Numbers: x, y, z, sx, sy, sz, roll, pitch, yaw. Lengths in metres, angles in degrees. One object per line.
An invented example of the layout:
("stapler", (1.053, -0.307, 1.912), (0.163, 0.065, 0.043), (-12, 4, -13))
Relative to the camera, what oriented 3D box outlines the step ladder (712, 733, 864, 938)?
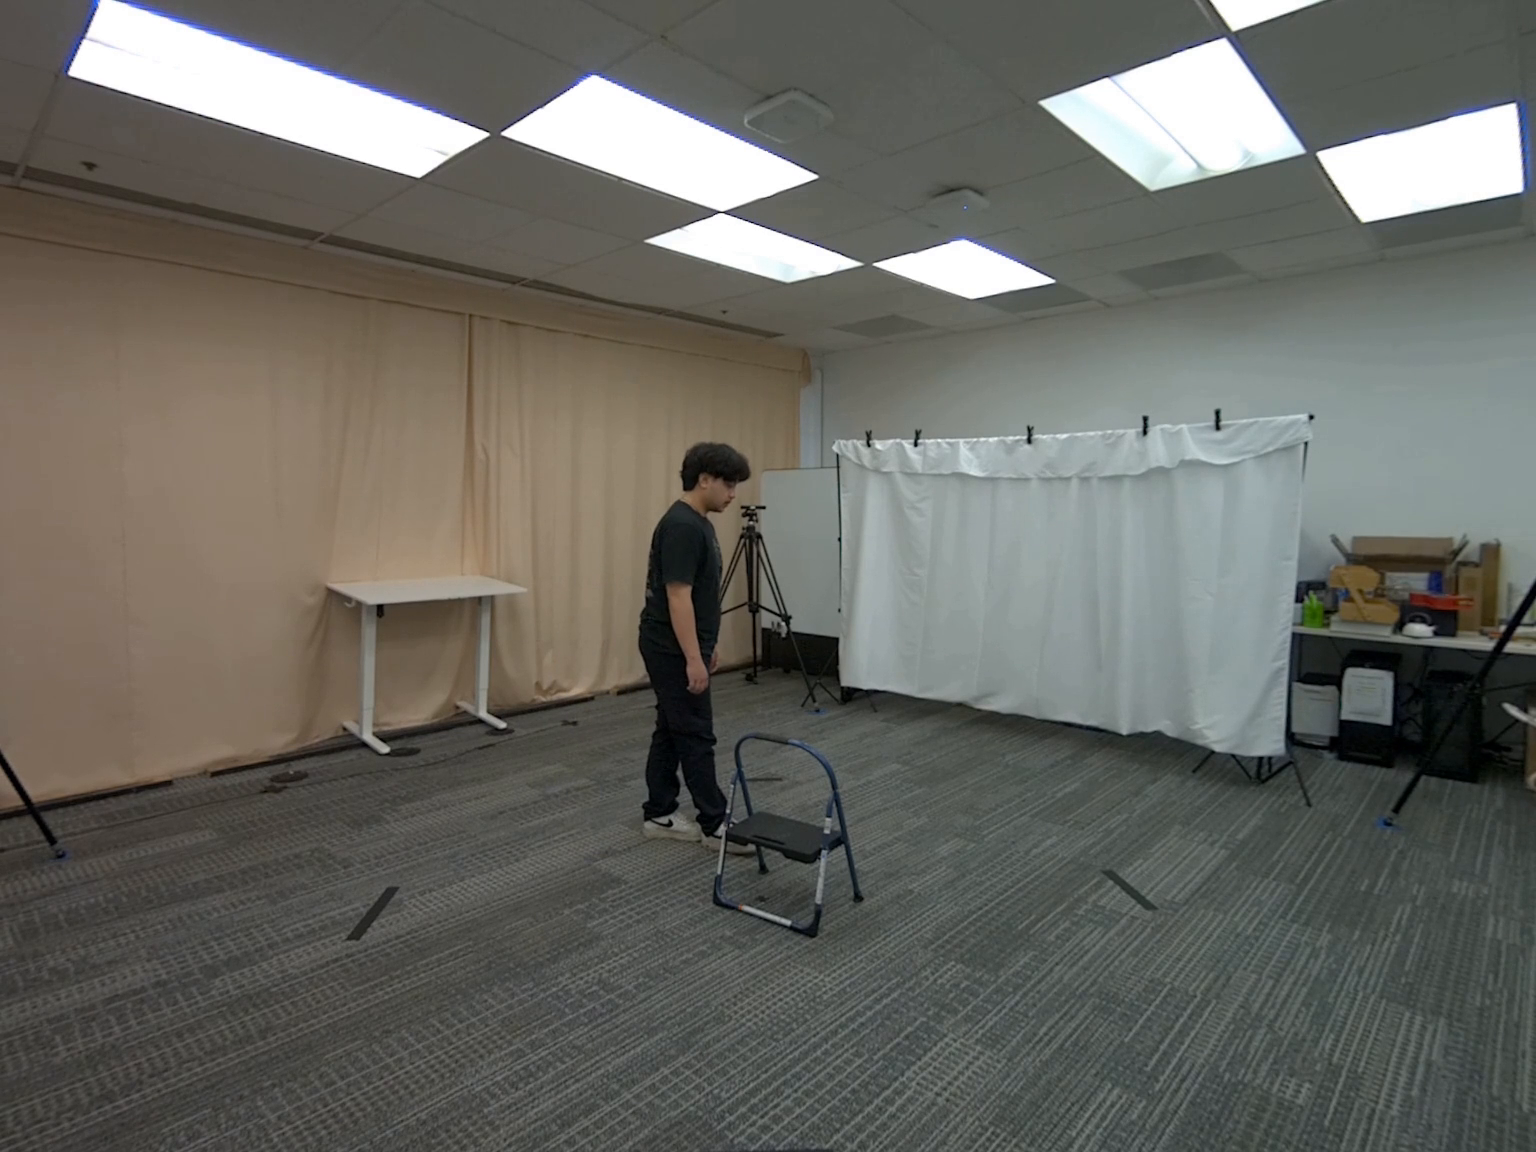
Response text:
("step ladder", (0.073, 0.842, 2.948), (0.444, 0.605, 0.339), (2, 3, 34))
